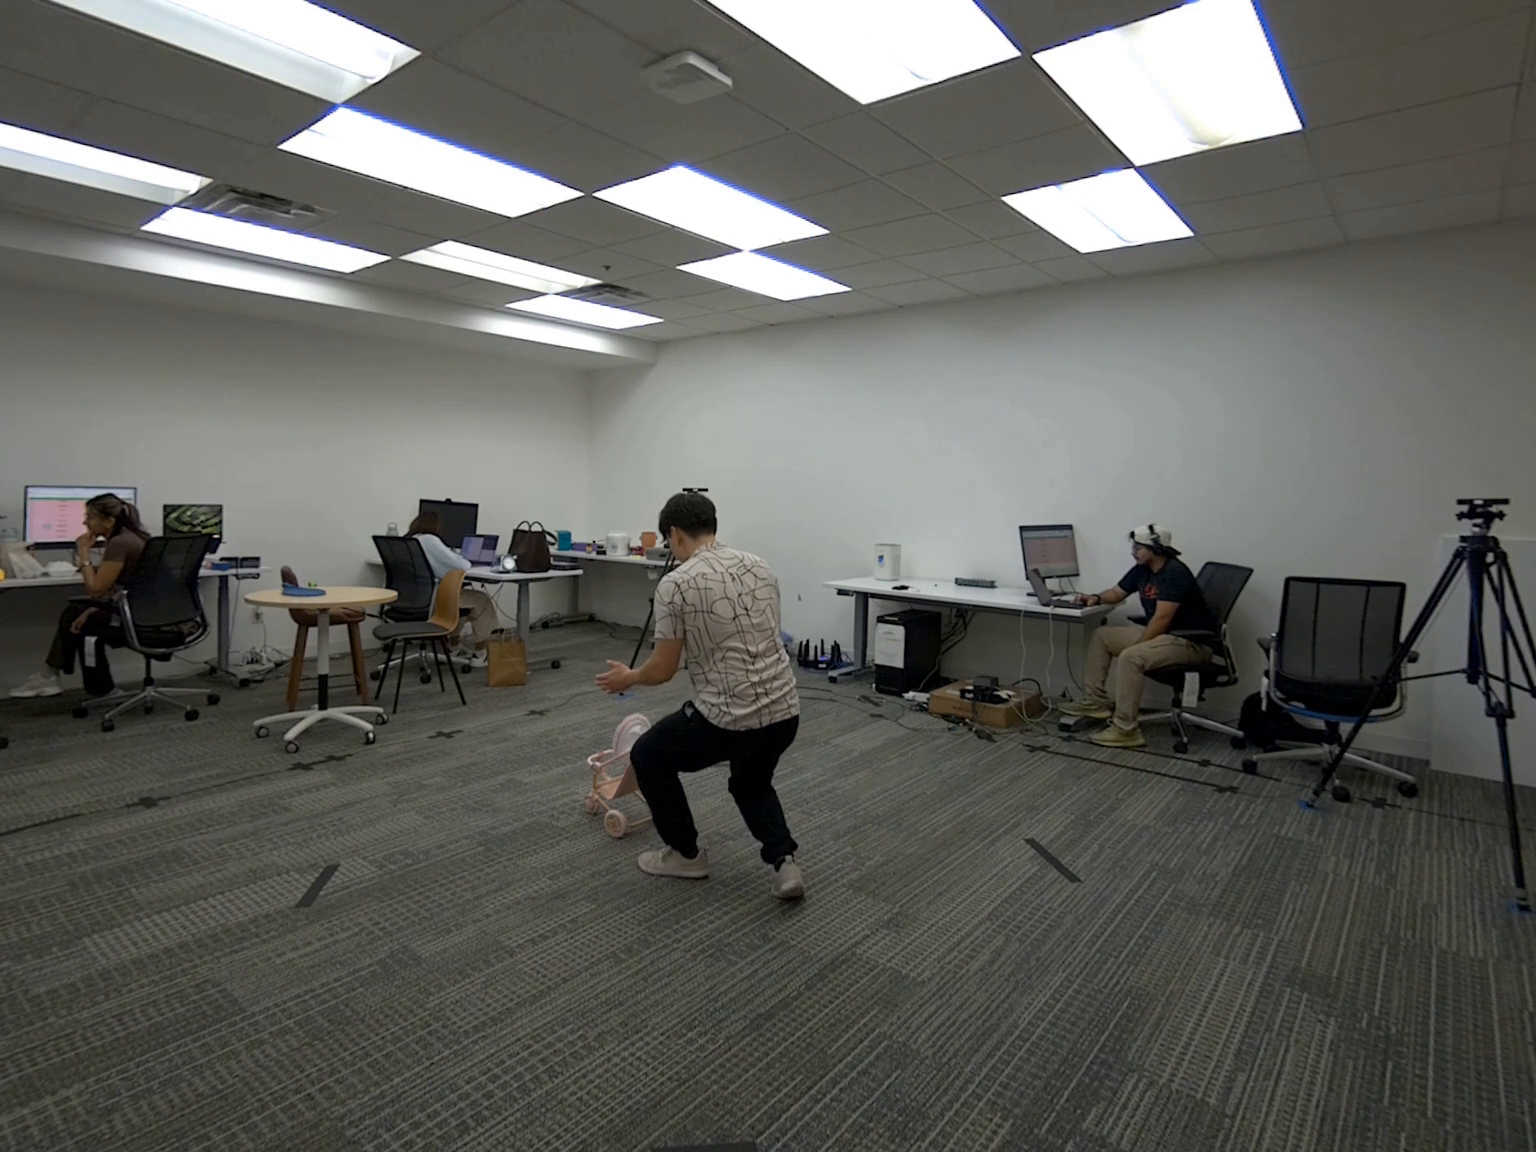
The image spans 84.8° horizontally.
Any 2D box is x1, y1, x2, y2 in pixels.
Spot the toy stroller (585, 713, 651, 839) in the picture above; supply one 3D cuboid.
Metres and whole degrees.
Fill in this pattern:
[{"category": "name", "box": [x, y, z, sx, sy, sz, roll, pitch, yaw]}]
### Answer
[{"category": "toy stroller", "box": [-0.594, 0.800, 3.506, 0.355, 0.530, 0.273, 26, 17, 36]}]
